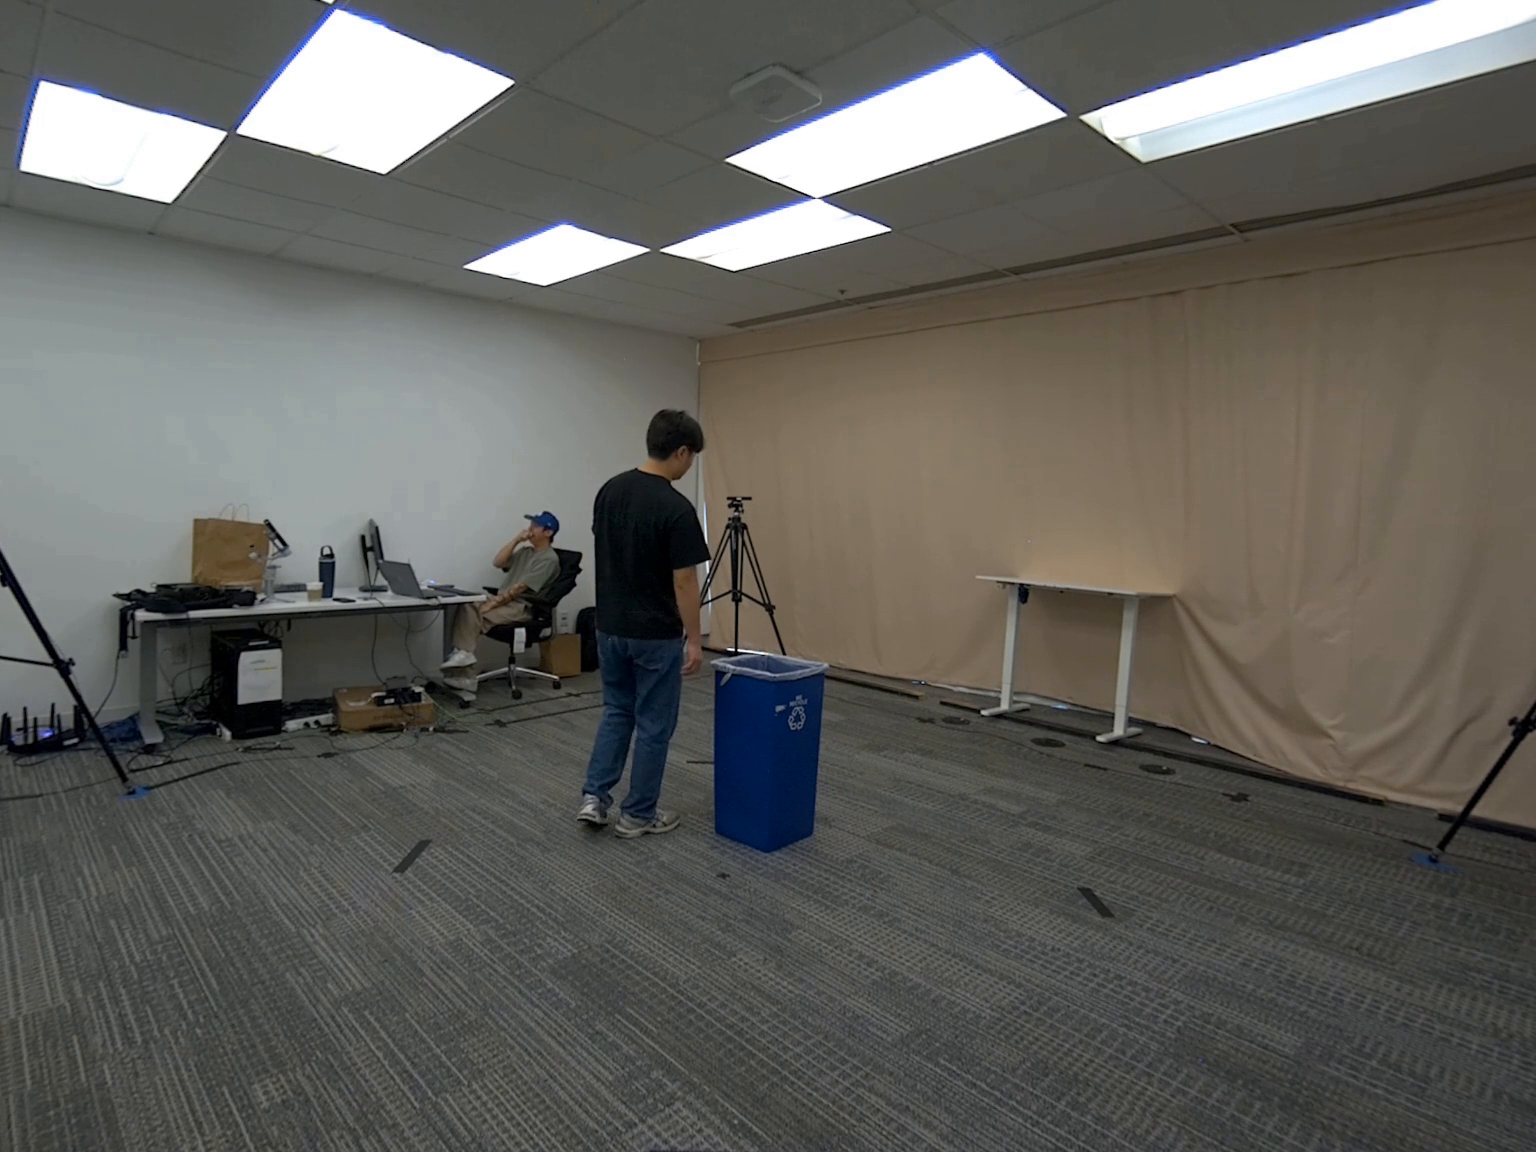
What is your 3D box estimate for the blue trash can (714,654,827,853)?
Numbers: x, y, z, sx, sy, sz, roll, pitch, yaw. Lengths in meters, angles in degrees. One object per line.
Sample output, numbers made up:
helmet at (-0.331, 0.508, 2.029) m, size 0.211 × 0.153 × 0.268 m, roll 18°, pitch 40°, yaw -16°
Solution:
blue trash can at (-0.010, 0.715, 3.509) m, size 0.388 × 0.712 × 0.365 m, roll 5°, pitch 5°, yaw 42°
